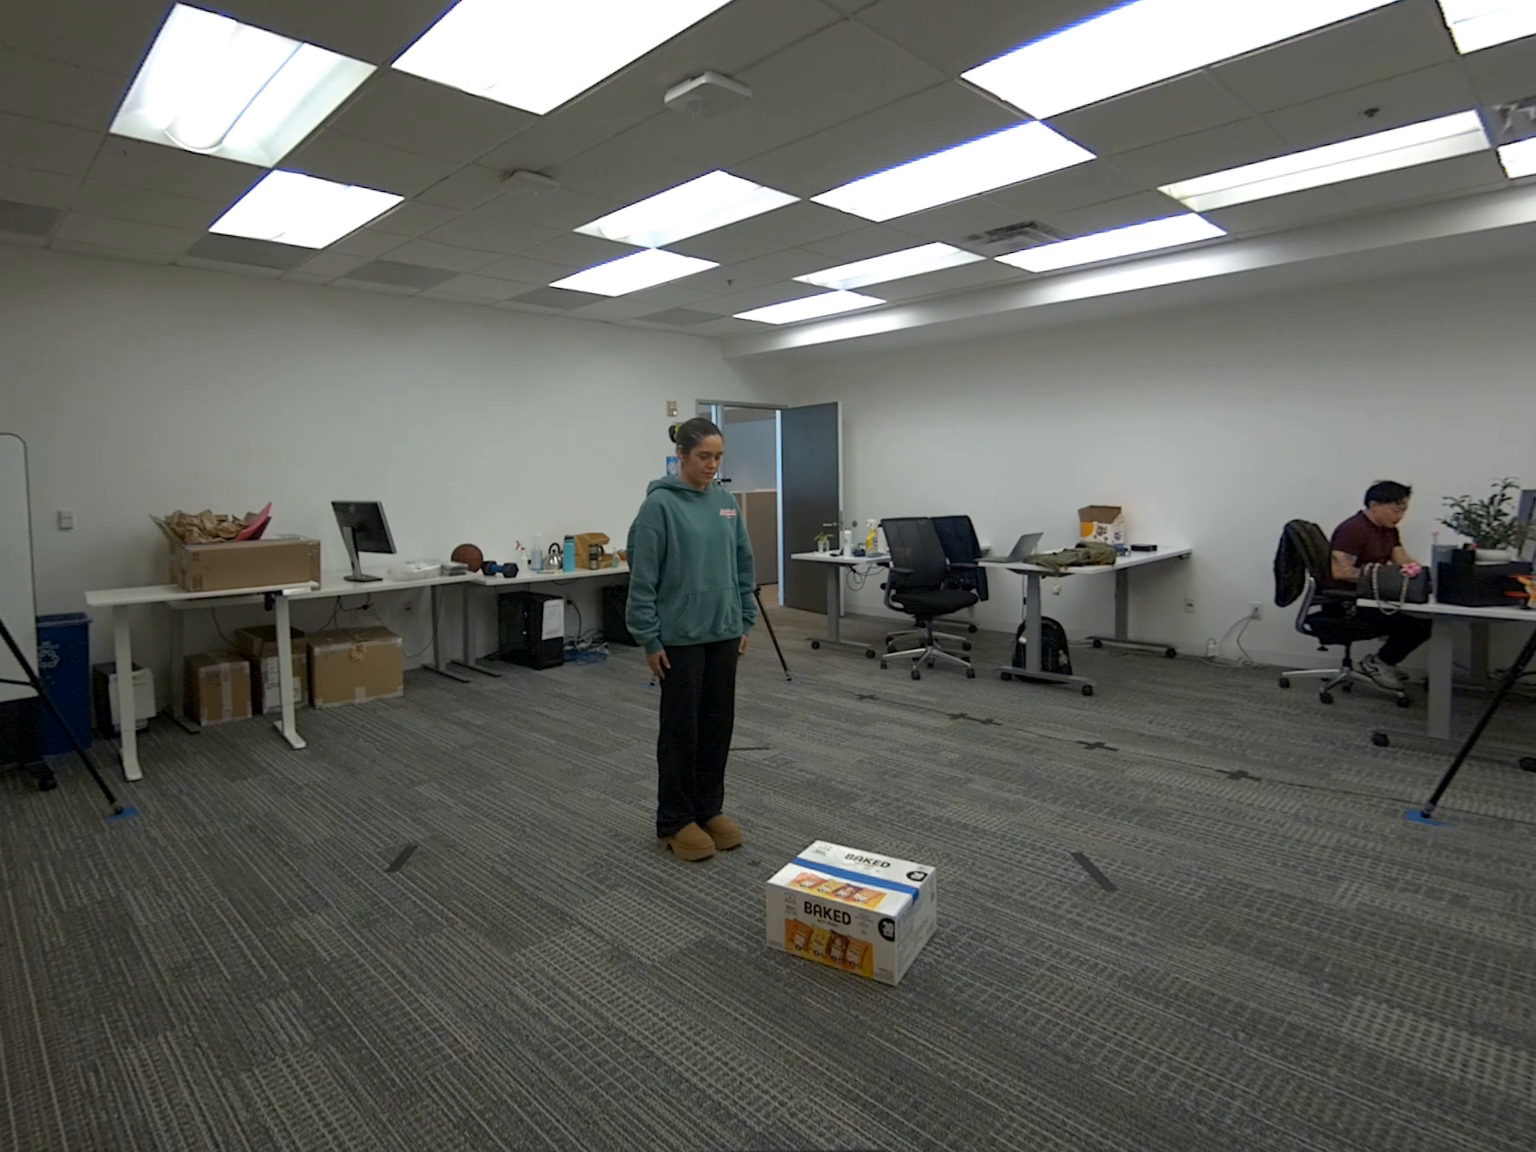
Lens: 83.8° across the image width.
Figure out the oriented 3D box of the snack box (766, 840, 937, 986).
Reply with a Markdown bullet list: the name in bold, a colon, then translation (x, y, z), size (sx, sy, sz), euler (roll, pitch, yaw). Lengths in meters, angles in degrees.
- **snack box**: translation (0.260, 1.001, 2.571), size (0.416, 0.205, 0.333), euler (2, 7, 31)
